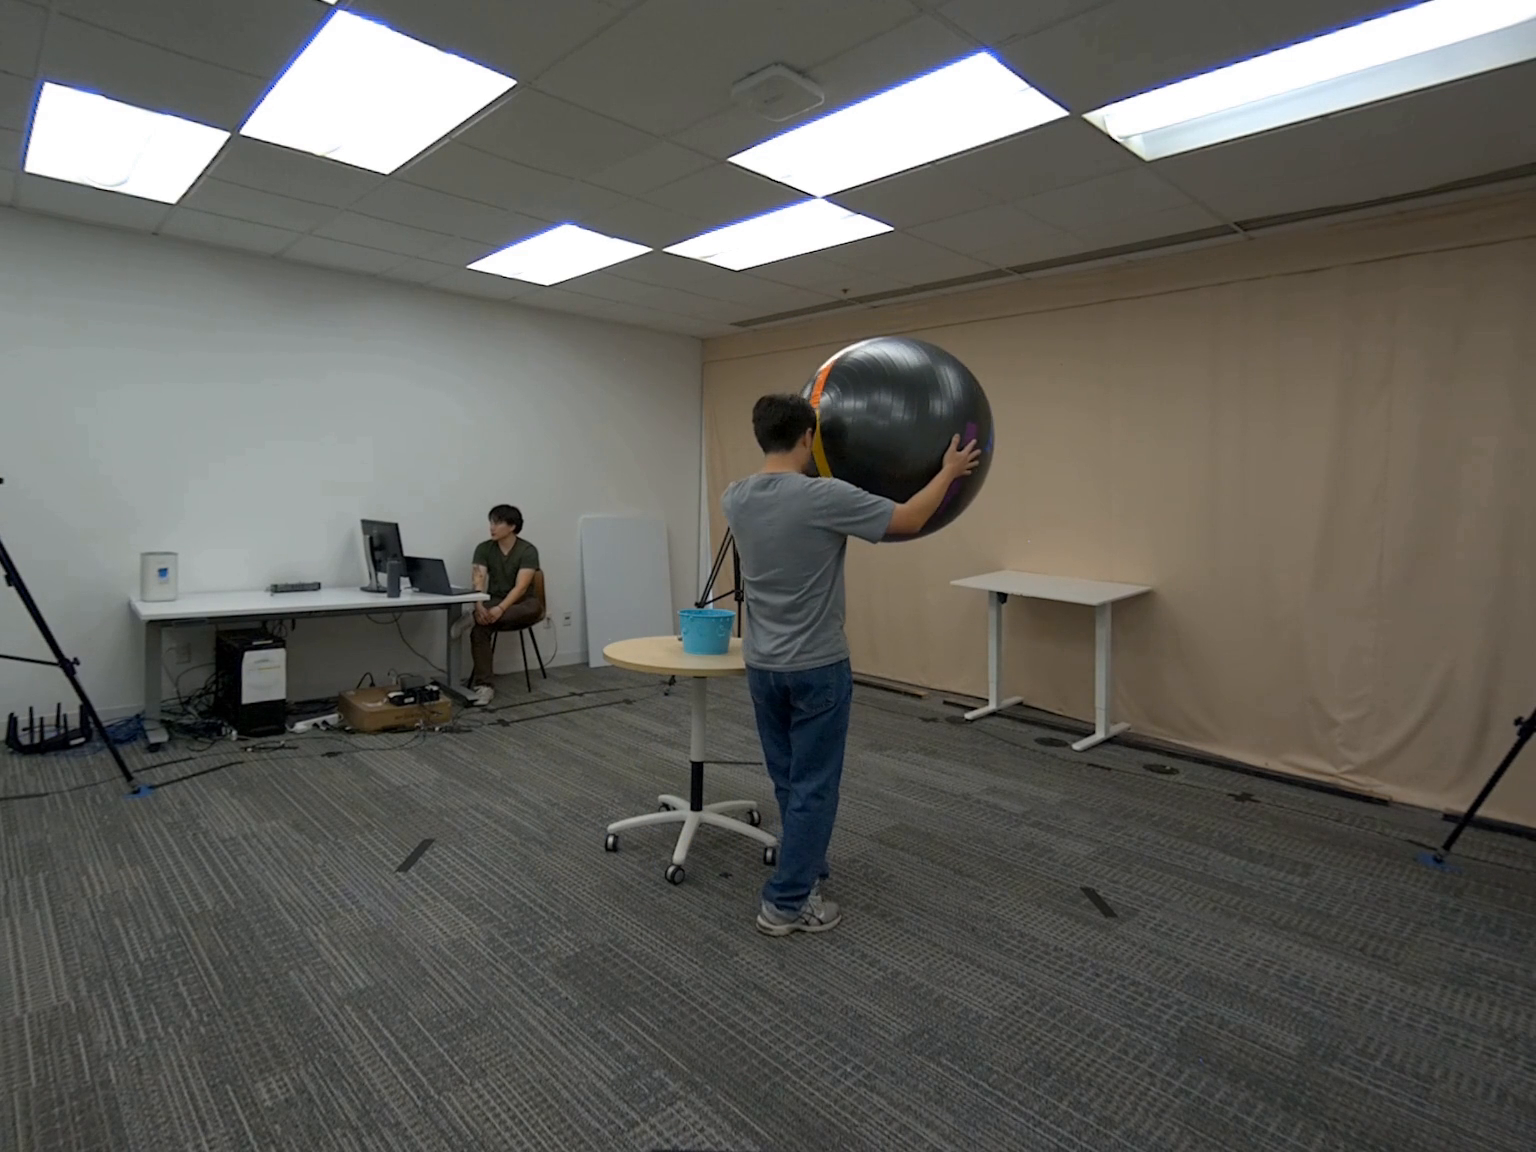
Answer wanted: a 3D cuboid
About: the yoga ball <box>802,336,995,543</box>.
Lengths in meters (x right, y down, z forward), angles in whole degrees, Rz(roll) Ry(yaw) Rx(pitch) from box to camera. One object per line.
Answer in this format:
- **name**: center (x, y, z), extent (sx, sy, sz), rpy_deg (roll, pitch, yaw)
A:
- **yoga ball**: center (0.446, -0.499, 3.145), extent (0.757, 0.756, 0.761), rpy_deg (1, 4, -1)
